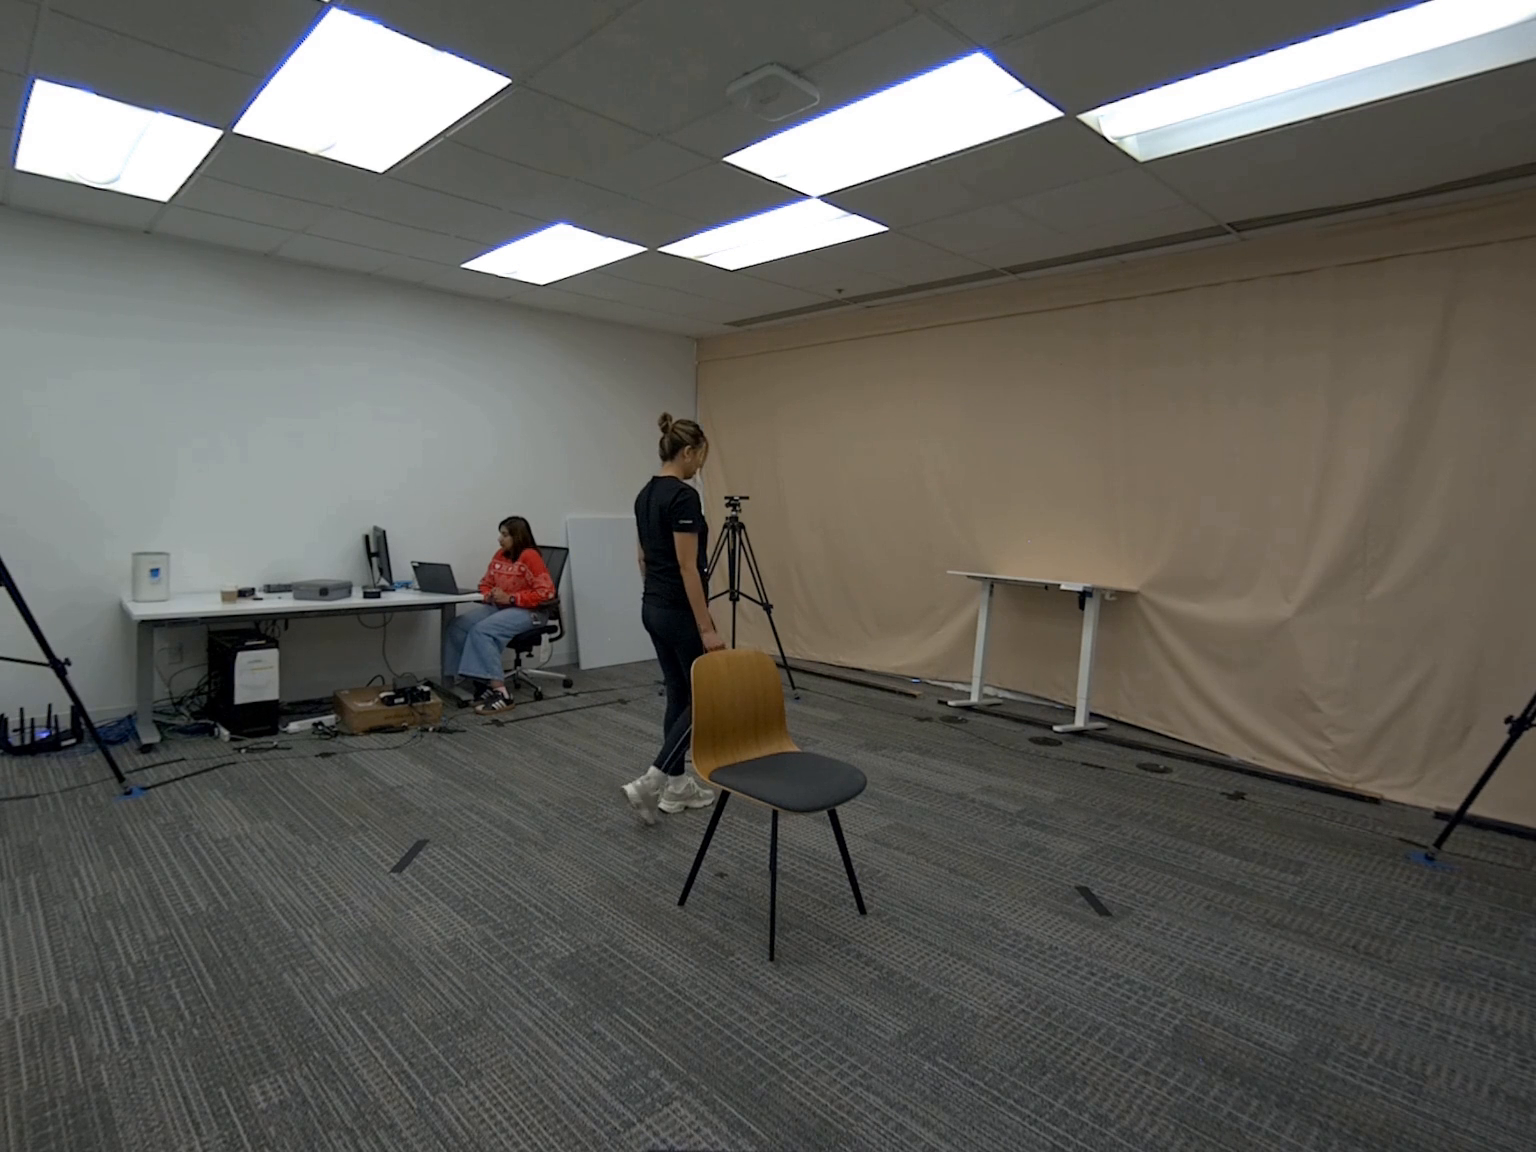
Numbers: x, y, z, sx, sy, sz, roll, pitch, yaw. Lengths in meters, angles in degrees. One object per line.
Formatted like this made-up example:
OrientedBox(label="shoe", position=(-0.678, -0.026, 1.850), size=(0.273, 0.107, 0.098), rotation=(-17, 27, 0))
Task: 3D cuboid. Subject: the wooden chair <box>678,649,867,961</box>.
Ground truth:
OrientedBox(label="wooden chair", position=(0.026, 0.708, 2.809), size=(0.467, 0.877, 0.535), rotation=(-2, 1, -44))
